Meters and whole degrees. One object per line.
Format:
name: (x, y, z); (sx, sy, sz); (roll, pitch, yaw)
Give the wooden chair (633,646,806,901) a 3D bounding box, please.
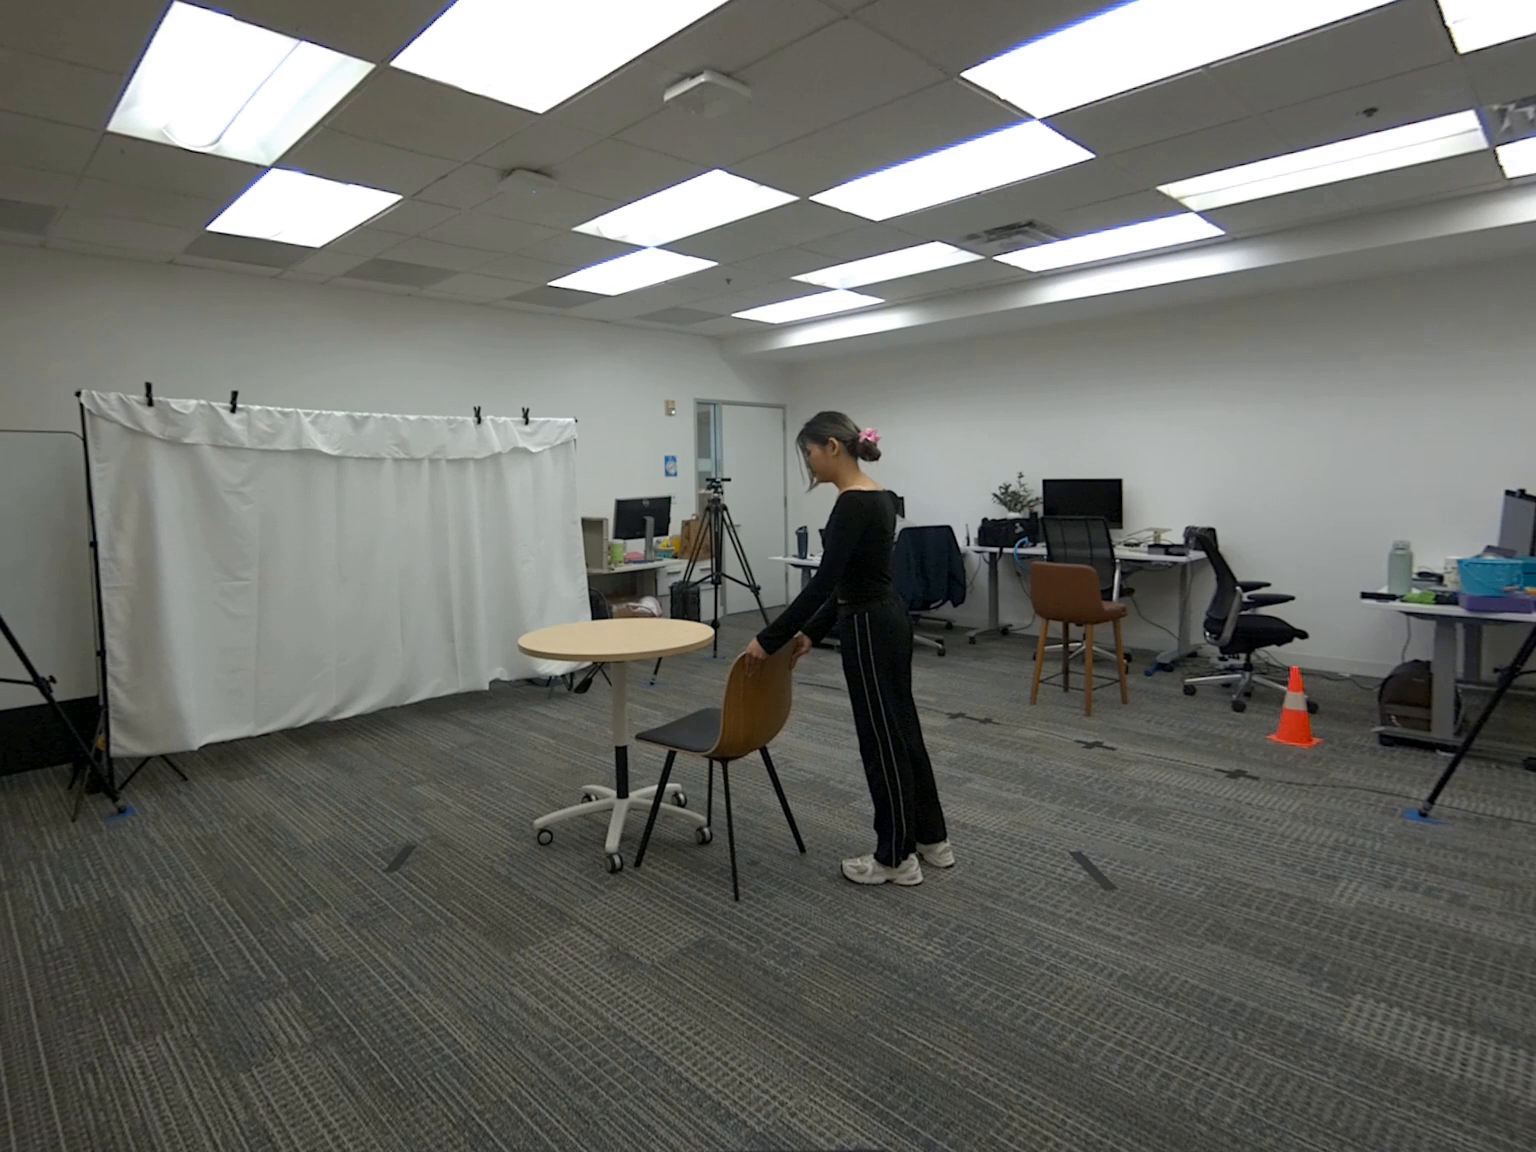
wooden chair: (-0.178, 0.614, 3.097); (0.539, 0.872, 0.466); (7, 8, 34)
